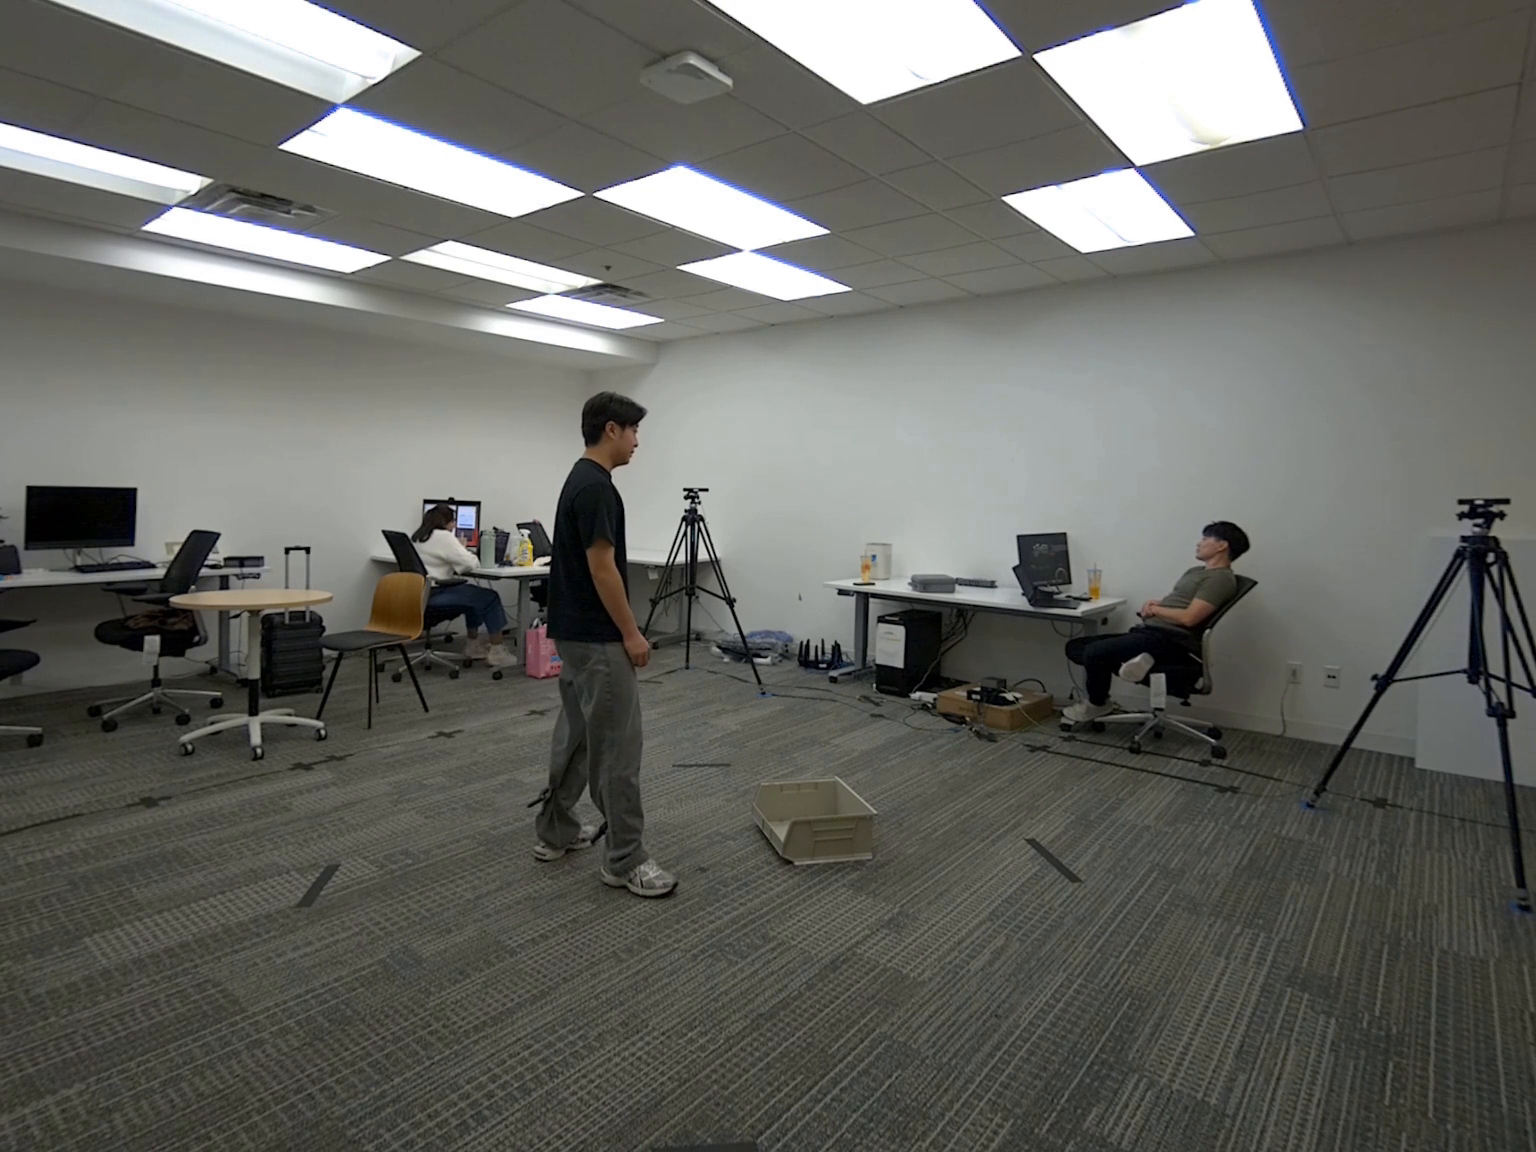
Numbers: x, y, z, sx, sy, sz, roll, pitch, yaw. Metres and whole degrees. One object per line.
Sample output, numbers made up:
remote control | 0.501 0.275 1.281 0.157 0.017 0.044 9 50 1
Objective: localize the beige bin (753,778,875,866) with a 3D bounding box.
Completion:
beige bin | 0.173 0.967 3.384 0.371 0.188 0.431 -1 5 -17
